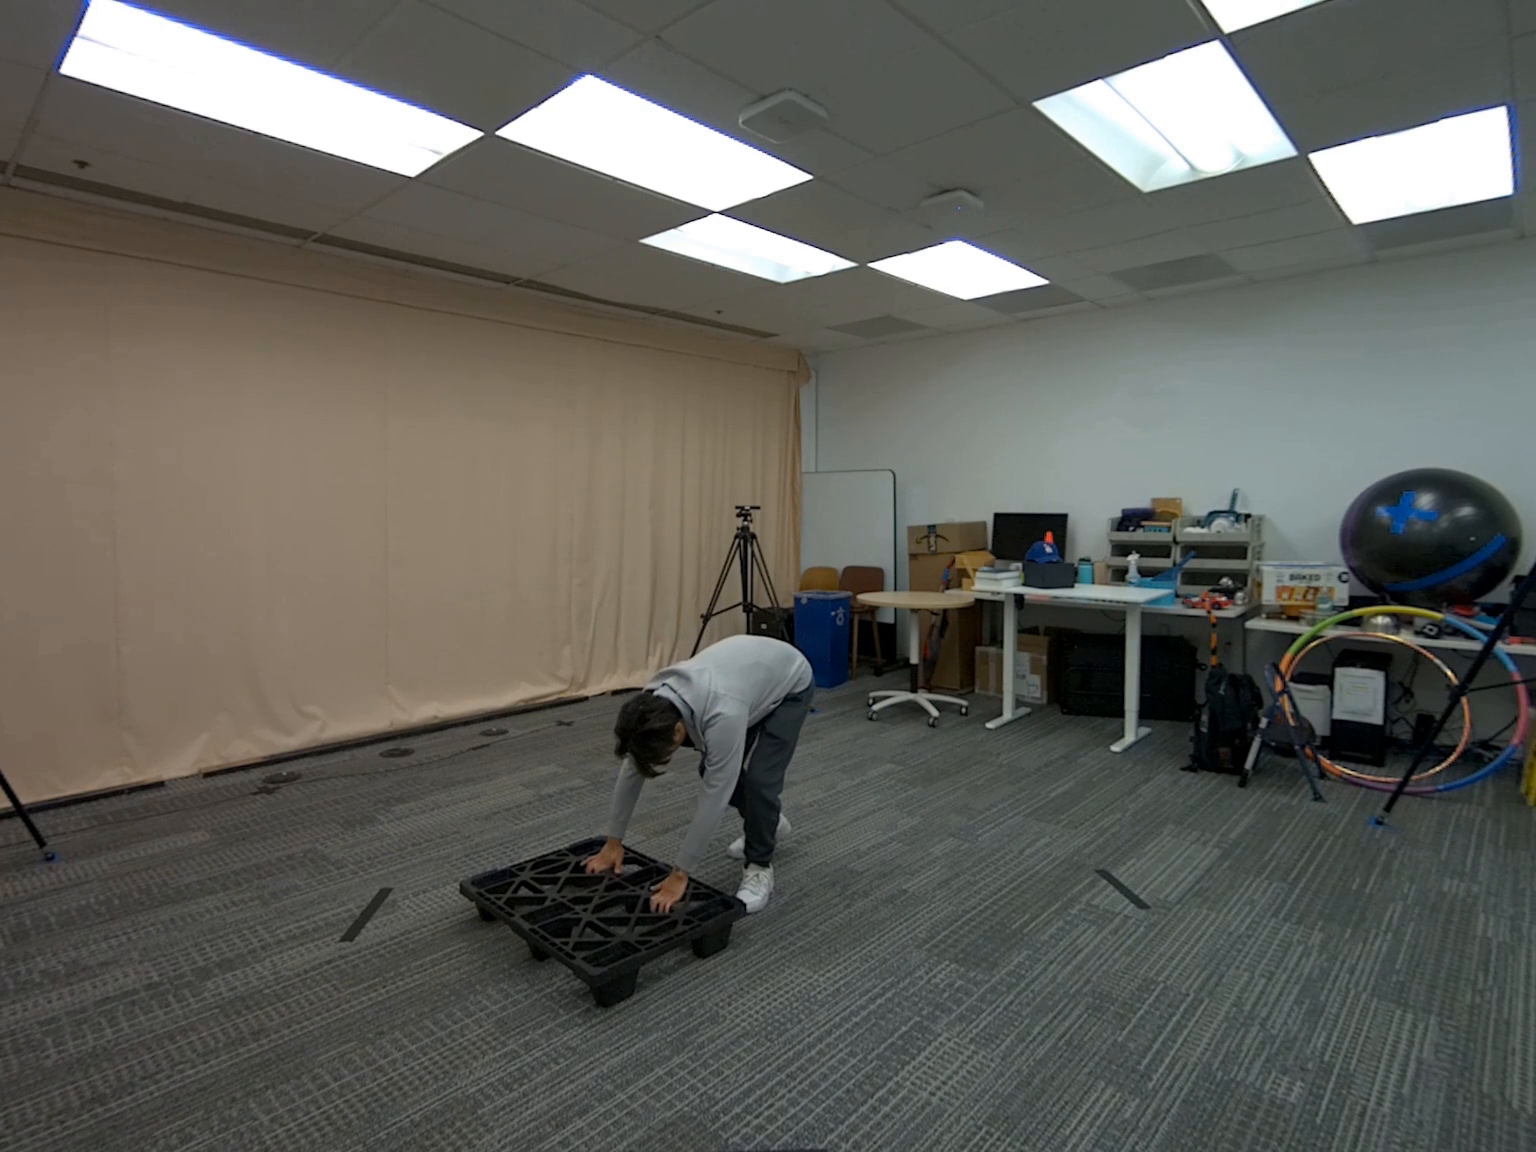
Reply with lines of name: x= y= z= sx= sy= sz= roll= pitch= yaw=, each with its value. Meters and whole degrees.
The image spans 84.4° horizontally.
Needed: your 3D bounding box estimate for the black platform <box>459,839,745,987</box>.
black platform: x=-0.555 y=1.101 z=2.758 sx=0.586 sy=0.143 sz=0.832 roll=-4 pitch=6 yaw=-44
